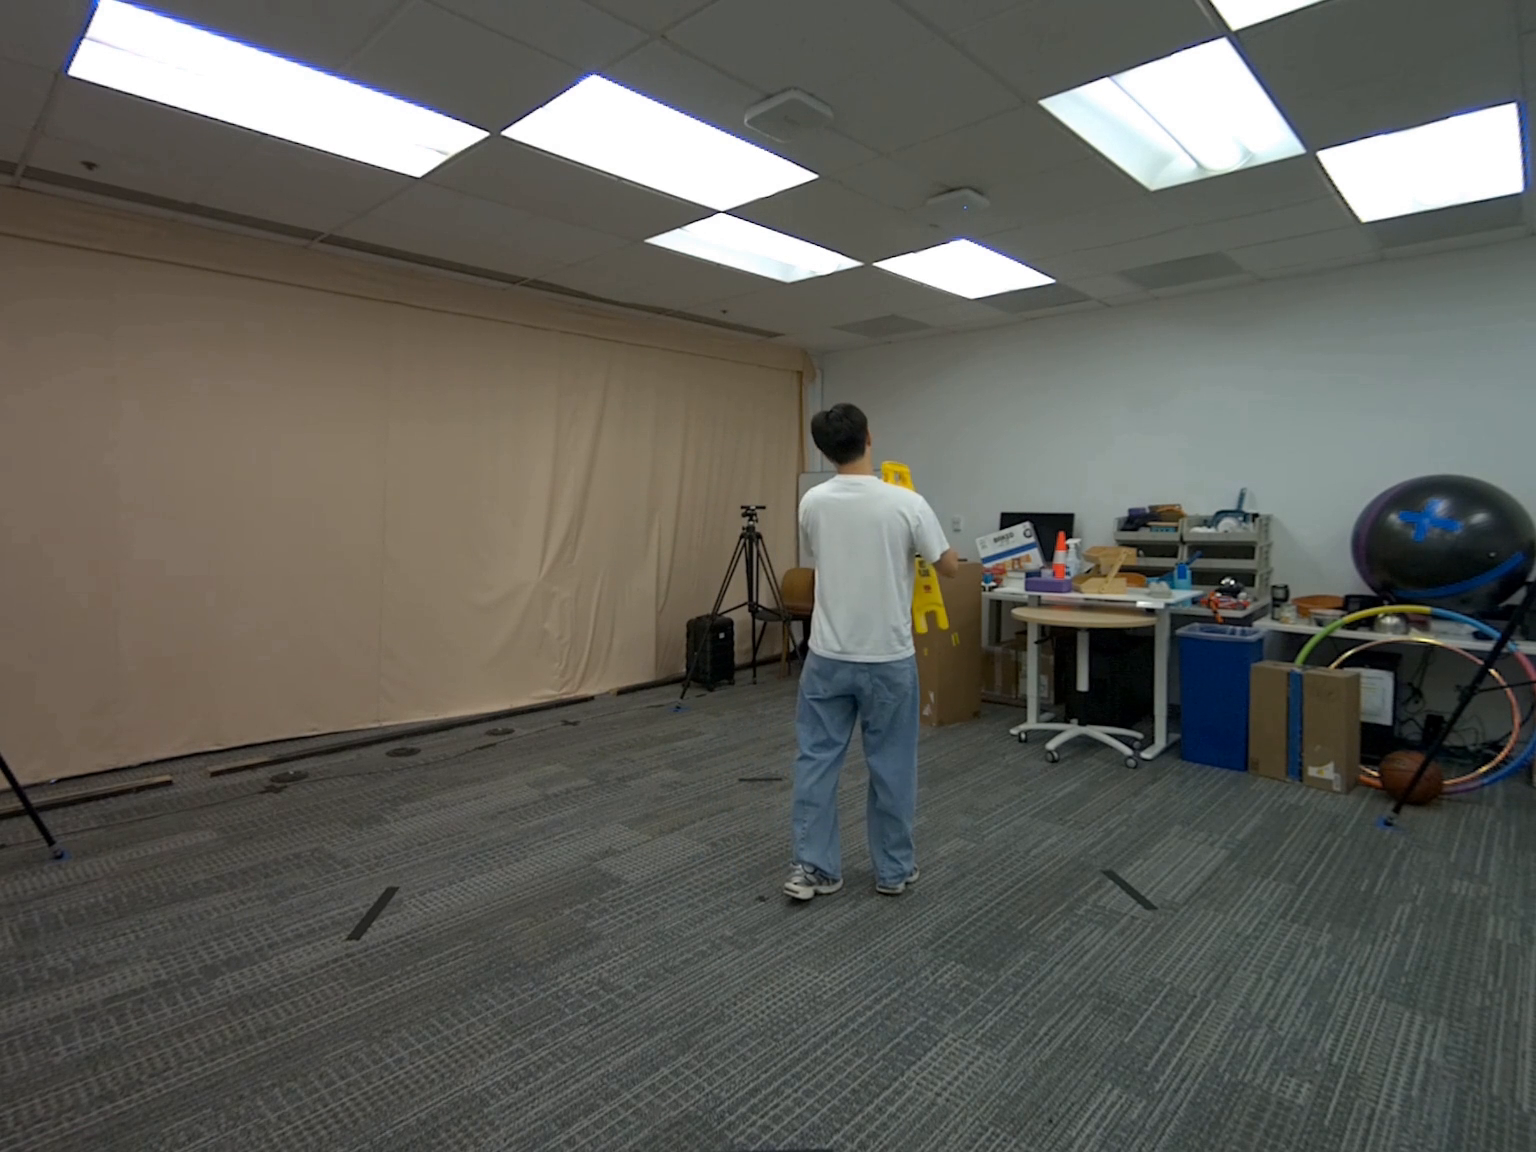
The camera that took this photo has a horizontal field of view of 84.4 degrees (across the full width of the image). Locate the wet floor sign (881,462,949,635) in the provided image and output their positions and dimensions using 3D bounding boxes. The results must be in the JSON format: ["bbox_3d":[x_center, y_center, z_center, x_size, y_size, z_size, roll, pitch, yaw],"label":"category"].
[{"bbox_3d":[0.517,-0.114,3.255,0.298,0.647,0.274,-4,-2,34],"label":"wet floor sign"}]
